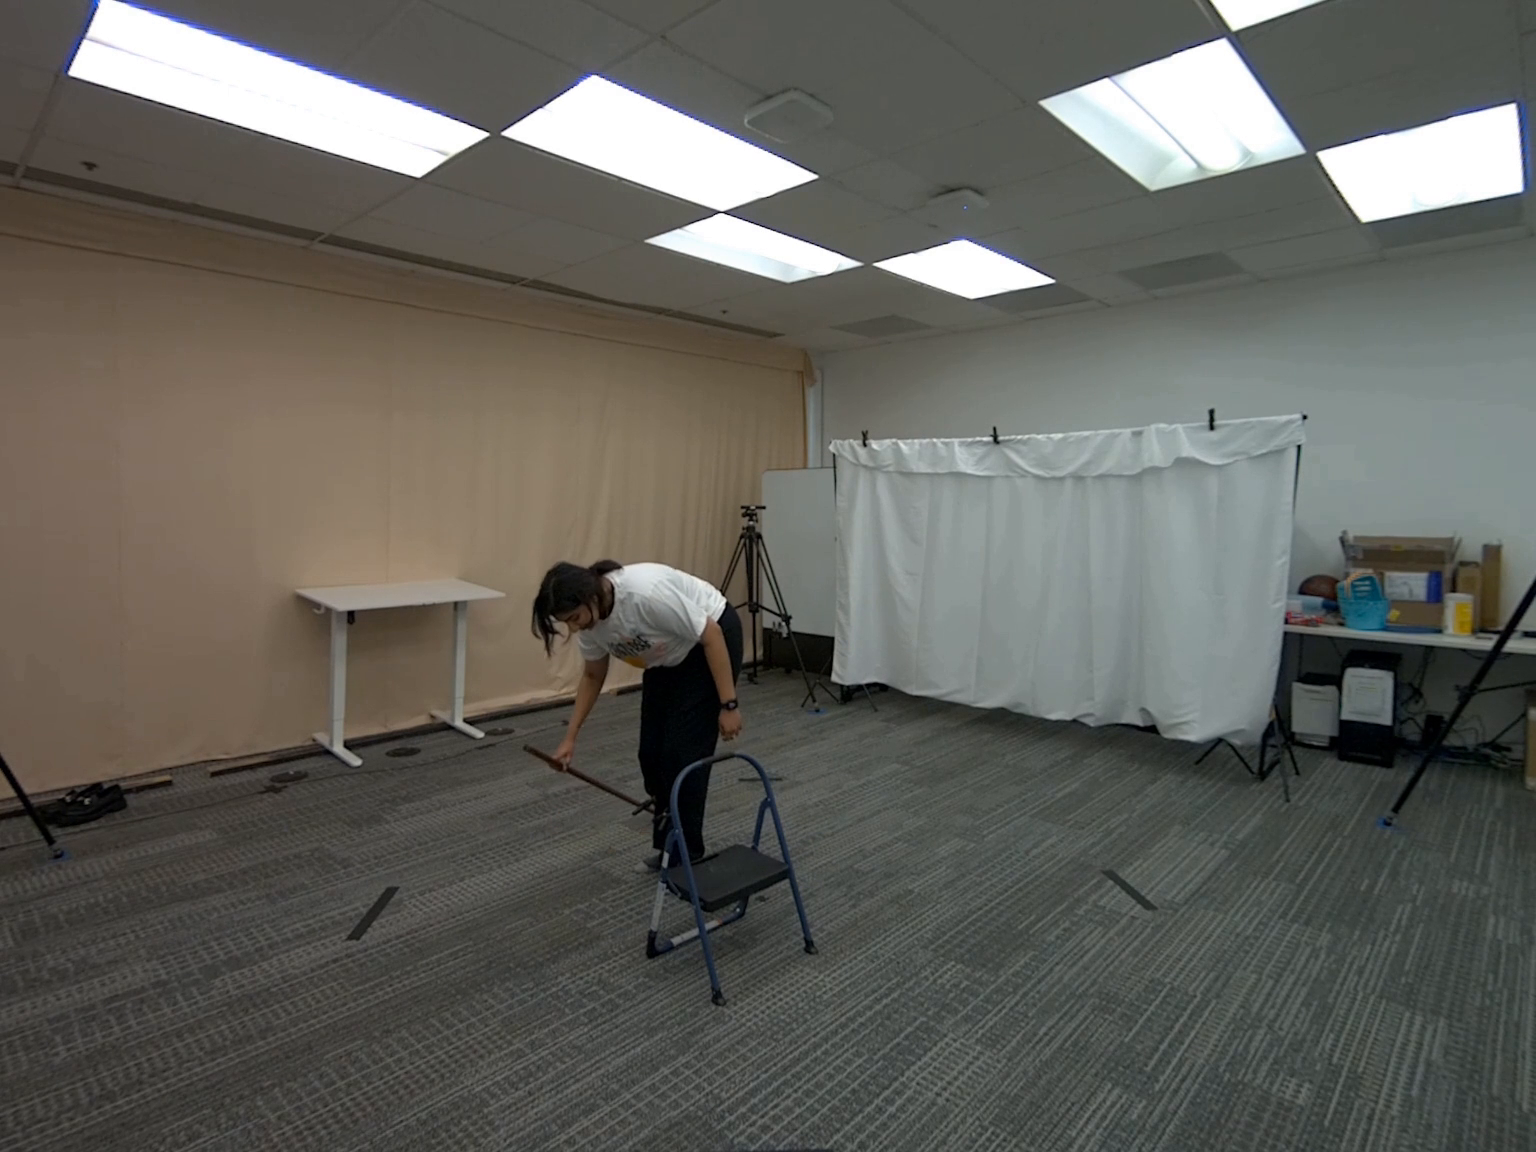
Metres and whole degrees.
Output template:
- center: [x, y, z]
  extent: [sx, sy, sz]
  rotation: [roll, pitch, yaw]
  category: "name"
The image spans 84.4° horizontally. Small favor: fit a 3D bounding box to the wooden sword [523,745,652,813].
- center: [-0.698, 0.853, 3.393]
  extent: [0.052, 0.024, 0.989]
  rotation: [-9, -30, 25]
  category: "wooden sword"
